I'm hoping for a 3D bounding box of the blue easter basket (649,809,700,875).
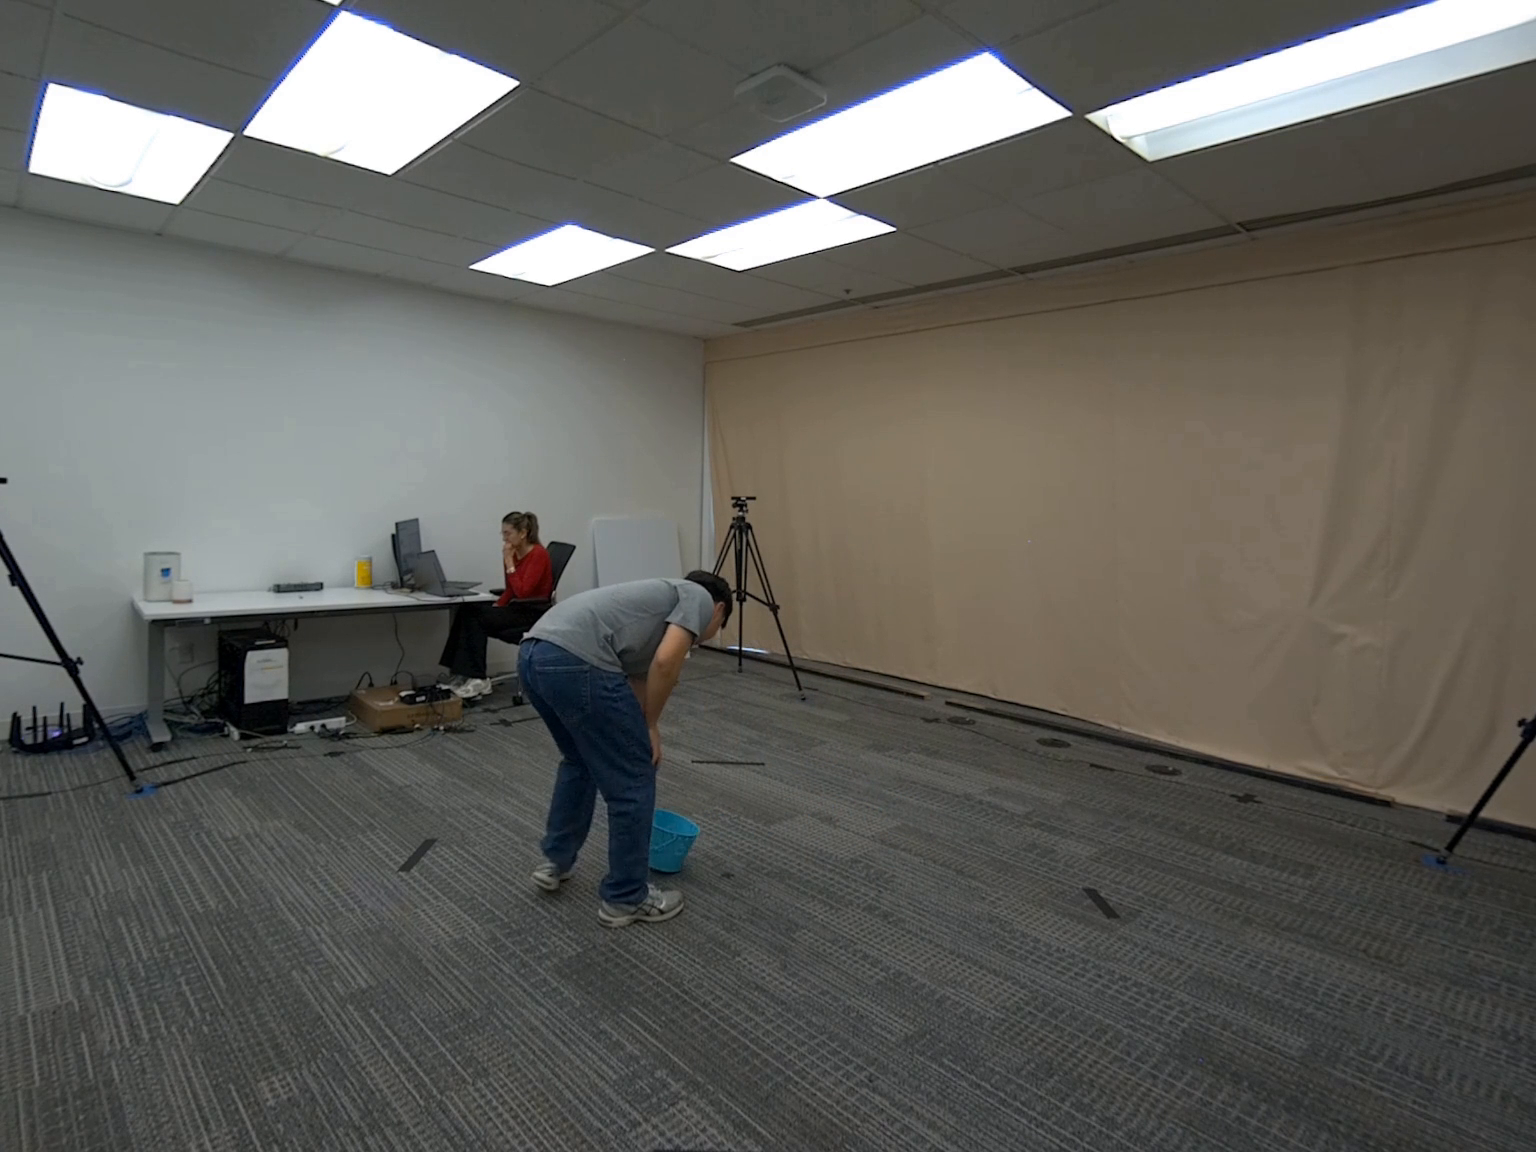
[{"bbox_3d":[-0.402,0.996,3.154,0.243,0.156,0.244,18,2,-2],"label":"blue easter basket"}]
